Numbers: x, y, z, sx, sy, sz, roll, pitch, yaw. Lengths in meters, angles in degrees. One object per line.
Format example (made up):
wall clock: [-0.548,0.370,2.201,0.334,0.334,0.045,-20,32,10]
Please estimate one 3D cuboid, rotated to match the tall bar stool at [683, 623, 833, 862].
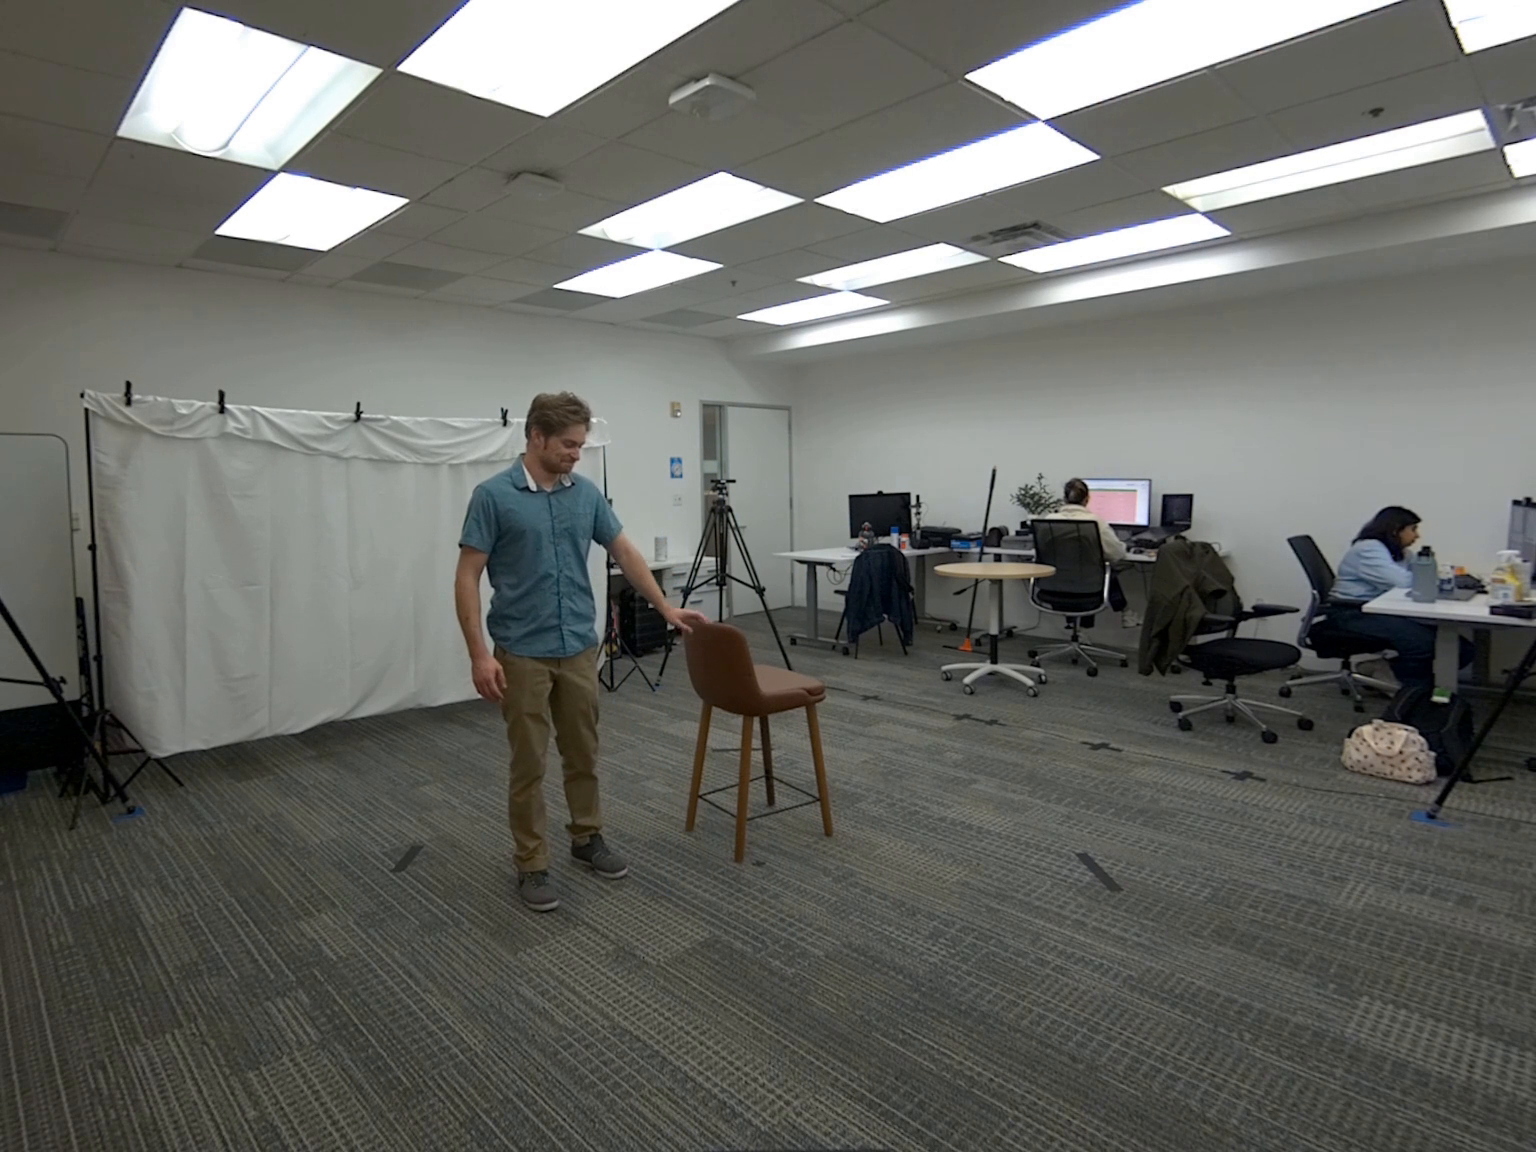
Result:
tall bar stool: [-0.055,0.583,3.361,0.456,0.885,0.470,-6,7,-35]
